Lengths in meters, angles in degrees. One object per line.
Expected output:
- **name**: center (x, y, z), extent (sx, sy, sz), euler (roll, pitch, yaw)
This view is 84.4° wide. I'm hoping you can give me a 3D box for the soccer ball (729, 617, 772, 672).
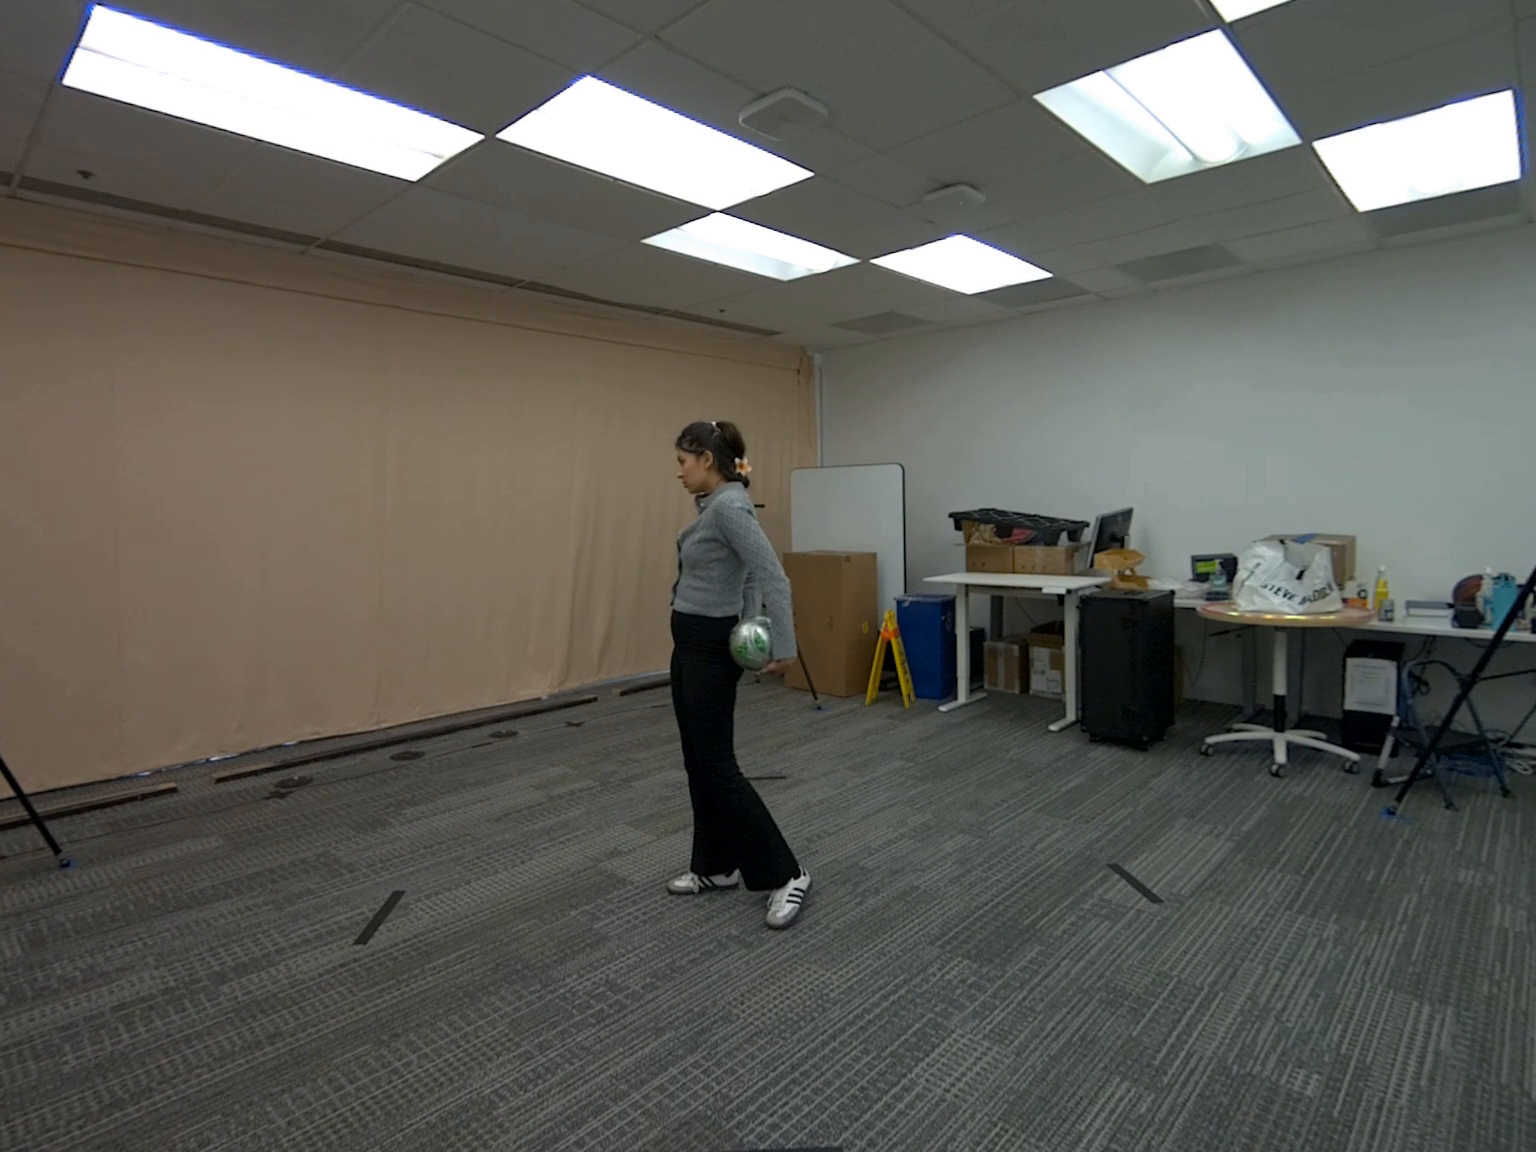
- **soccer ball**: center (-0.041, 0.220, 2.783), extent (0.187, 0.187, 0.188), euler (-1, 4, -2)
